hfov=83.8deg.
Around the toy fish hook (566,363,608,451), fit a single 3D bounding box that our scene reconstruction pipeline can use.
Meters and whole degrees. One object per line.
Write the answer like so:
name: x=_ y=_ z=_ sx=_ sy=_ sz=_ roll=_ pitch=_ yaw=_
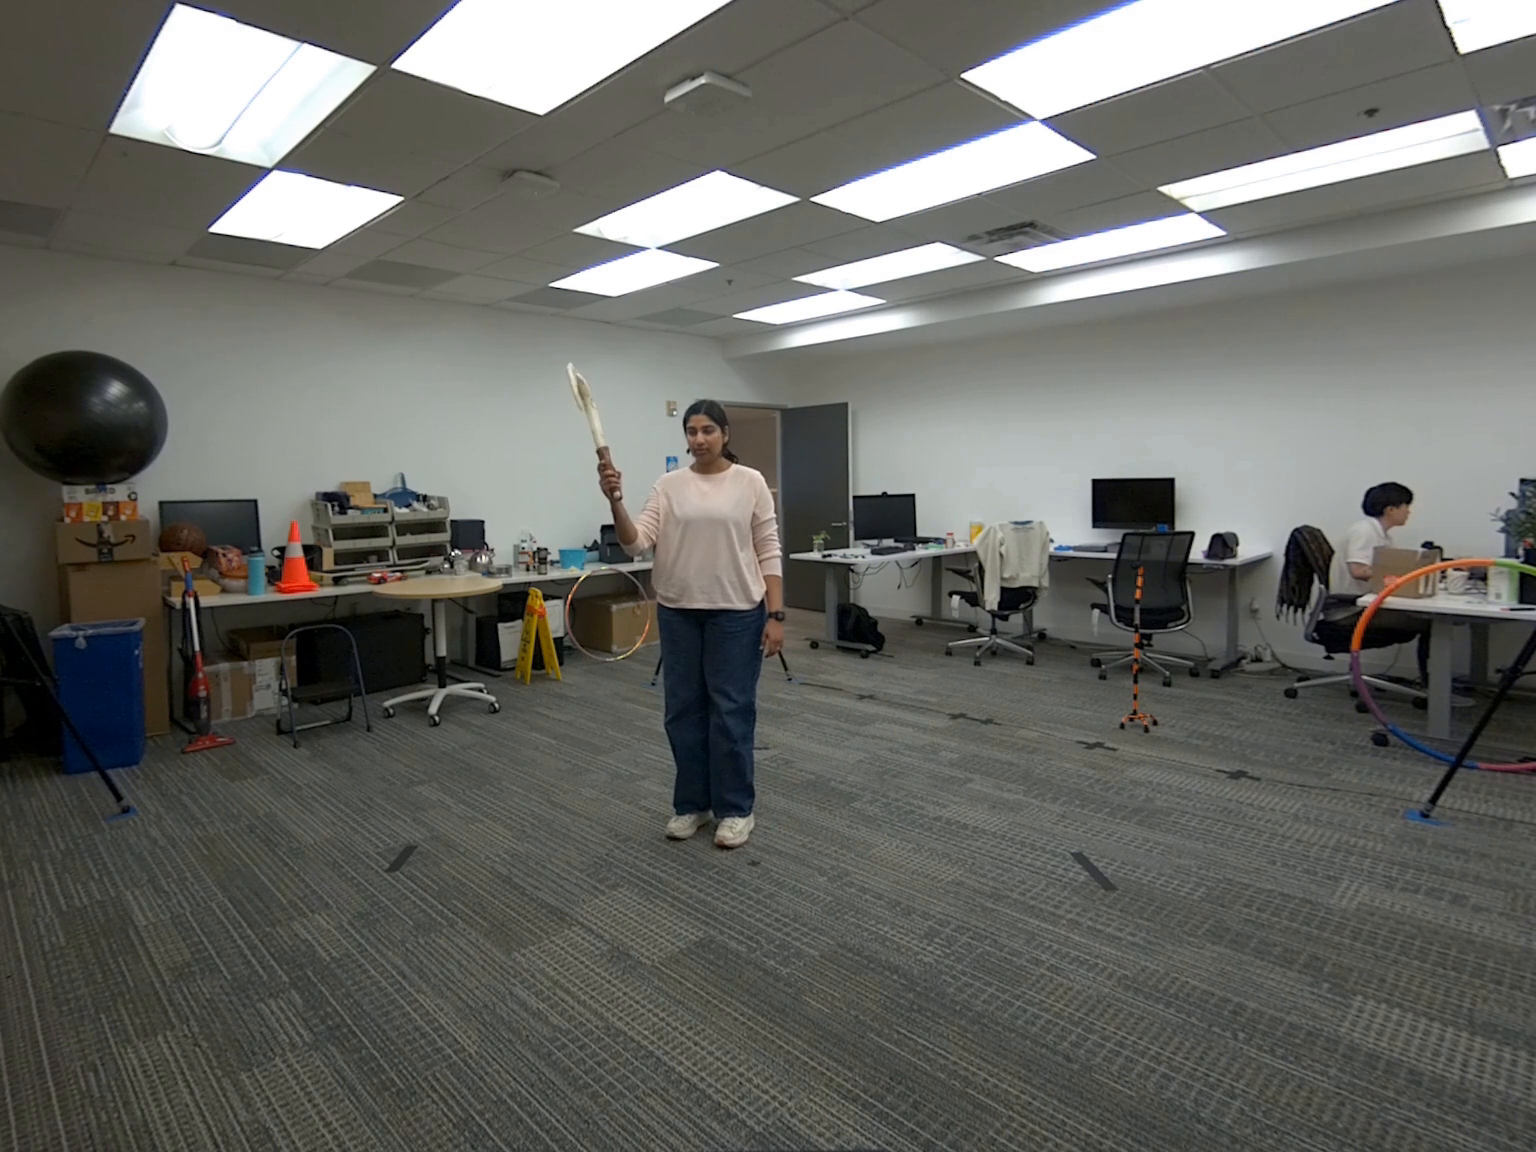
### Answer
toy fish hook: x=-0.611 y=-0.492 z=2.992 sx=0.048 sy=0.512 sz=0.221 roll=-21 pitch=-8 yaw=7
